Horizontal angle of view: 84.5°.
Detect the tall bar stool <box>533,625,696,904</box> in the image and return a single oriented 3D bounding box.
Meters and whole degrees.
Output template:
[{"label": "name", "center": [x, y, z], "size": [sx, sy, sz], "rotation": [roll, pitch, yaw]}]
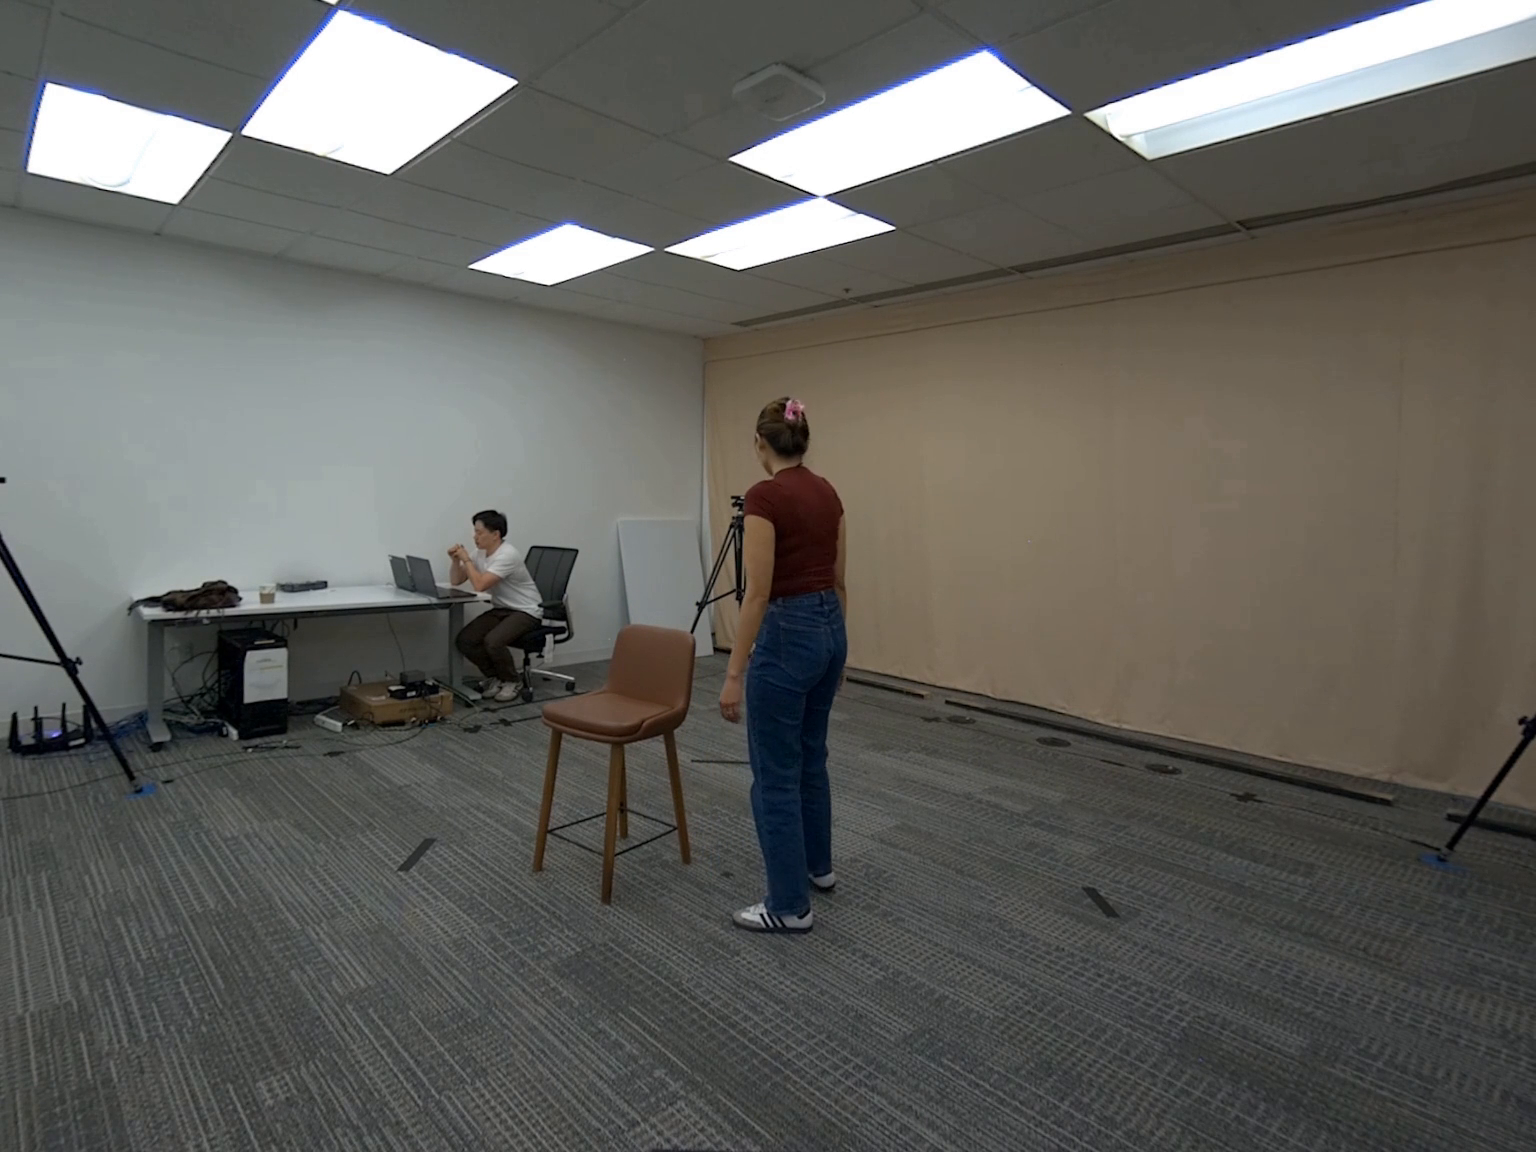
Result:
[{"label": "tall bar stool", "center": [-0.571, 0.662, 3.133], "size": [0.468, 0.888, 0.457], "rotation": [4, 3, 39]}]
